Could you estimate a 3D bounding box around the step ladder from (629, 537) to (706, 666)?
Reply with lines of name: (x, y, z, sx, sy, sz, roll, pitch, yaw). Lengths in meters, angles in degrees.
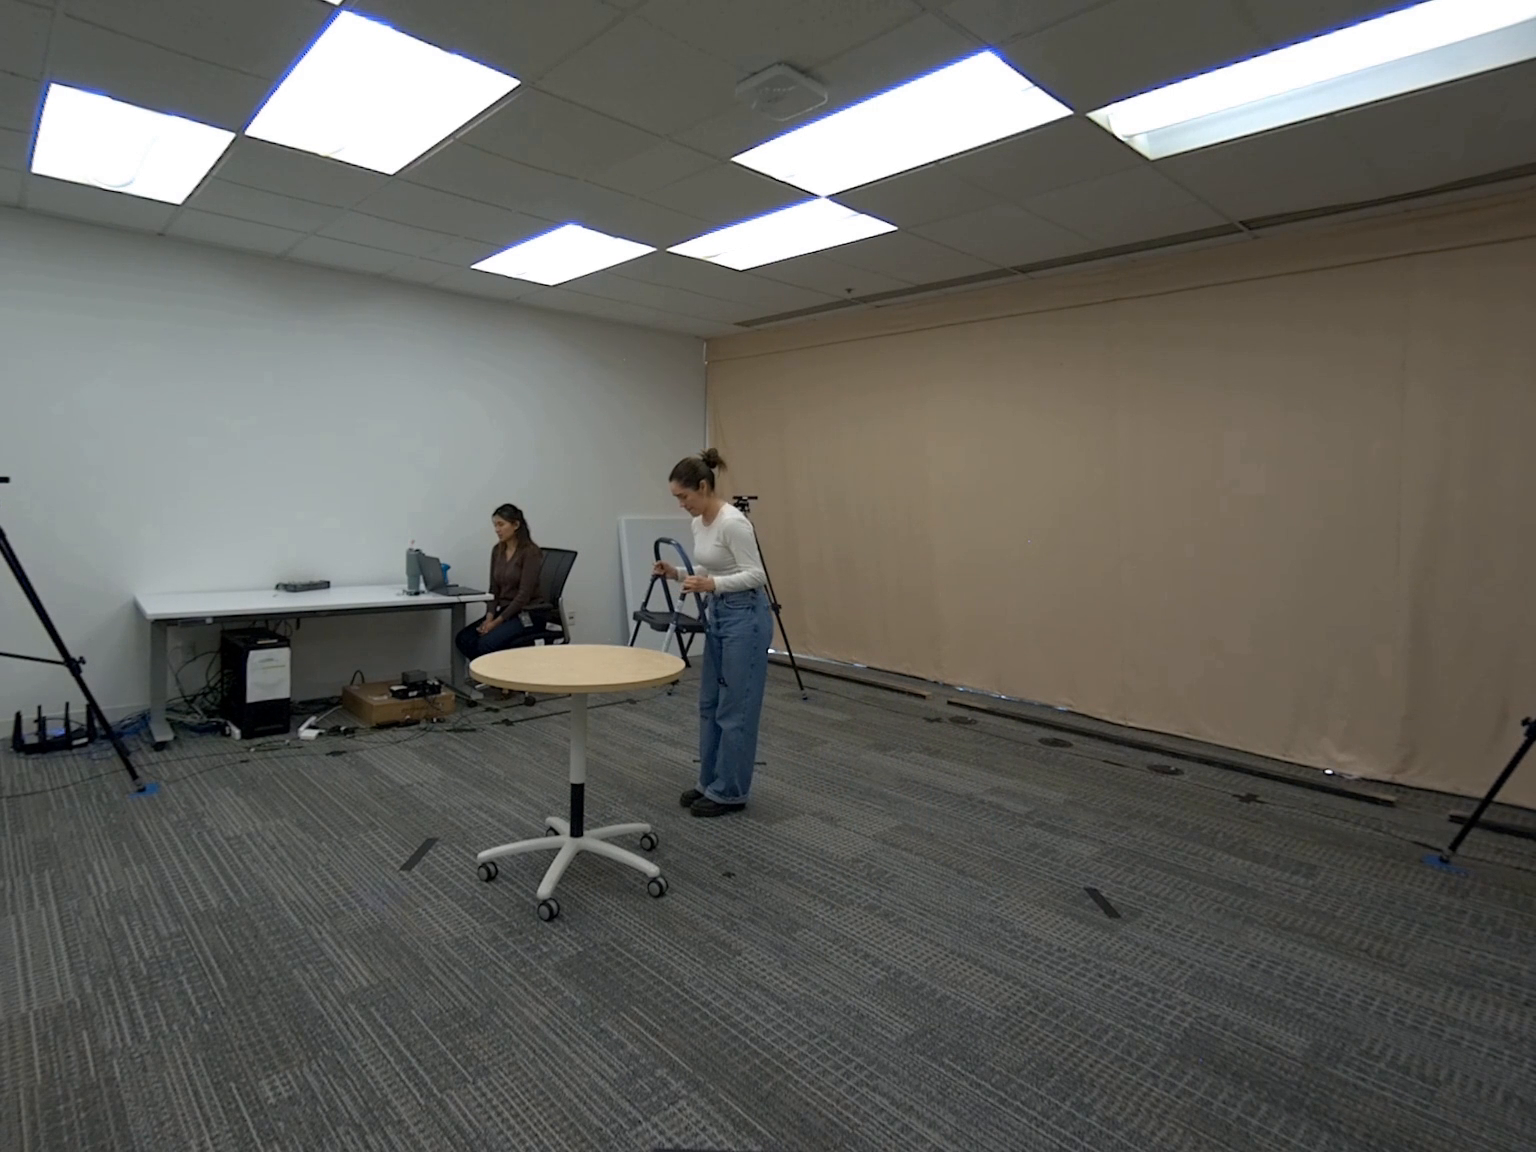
step ladder: (-0.404, 0.141, 3.702, 0.342, 0.605, 0.440, 3, 3, -28)
